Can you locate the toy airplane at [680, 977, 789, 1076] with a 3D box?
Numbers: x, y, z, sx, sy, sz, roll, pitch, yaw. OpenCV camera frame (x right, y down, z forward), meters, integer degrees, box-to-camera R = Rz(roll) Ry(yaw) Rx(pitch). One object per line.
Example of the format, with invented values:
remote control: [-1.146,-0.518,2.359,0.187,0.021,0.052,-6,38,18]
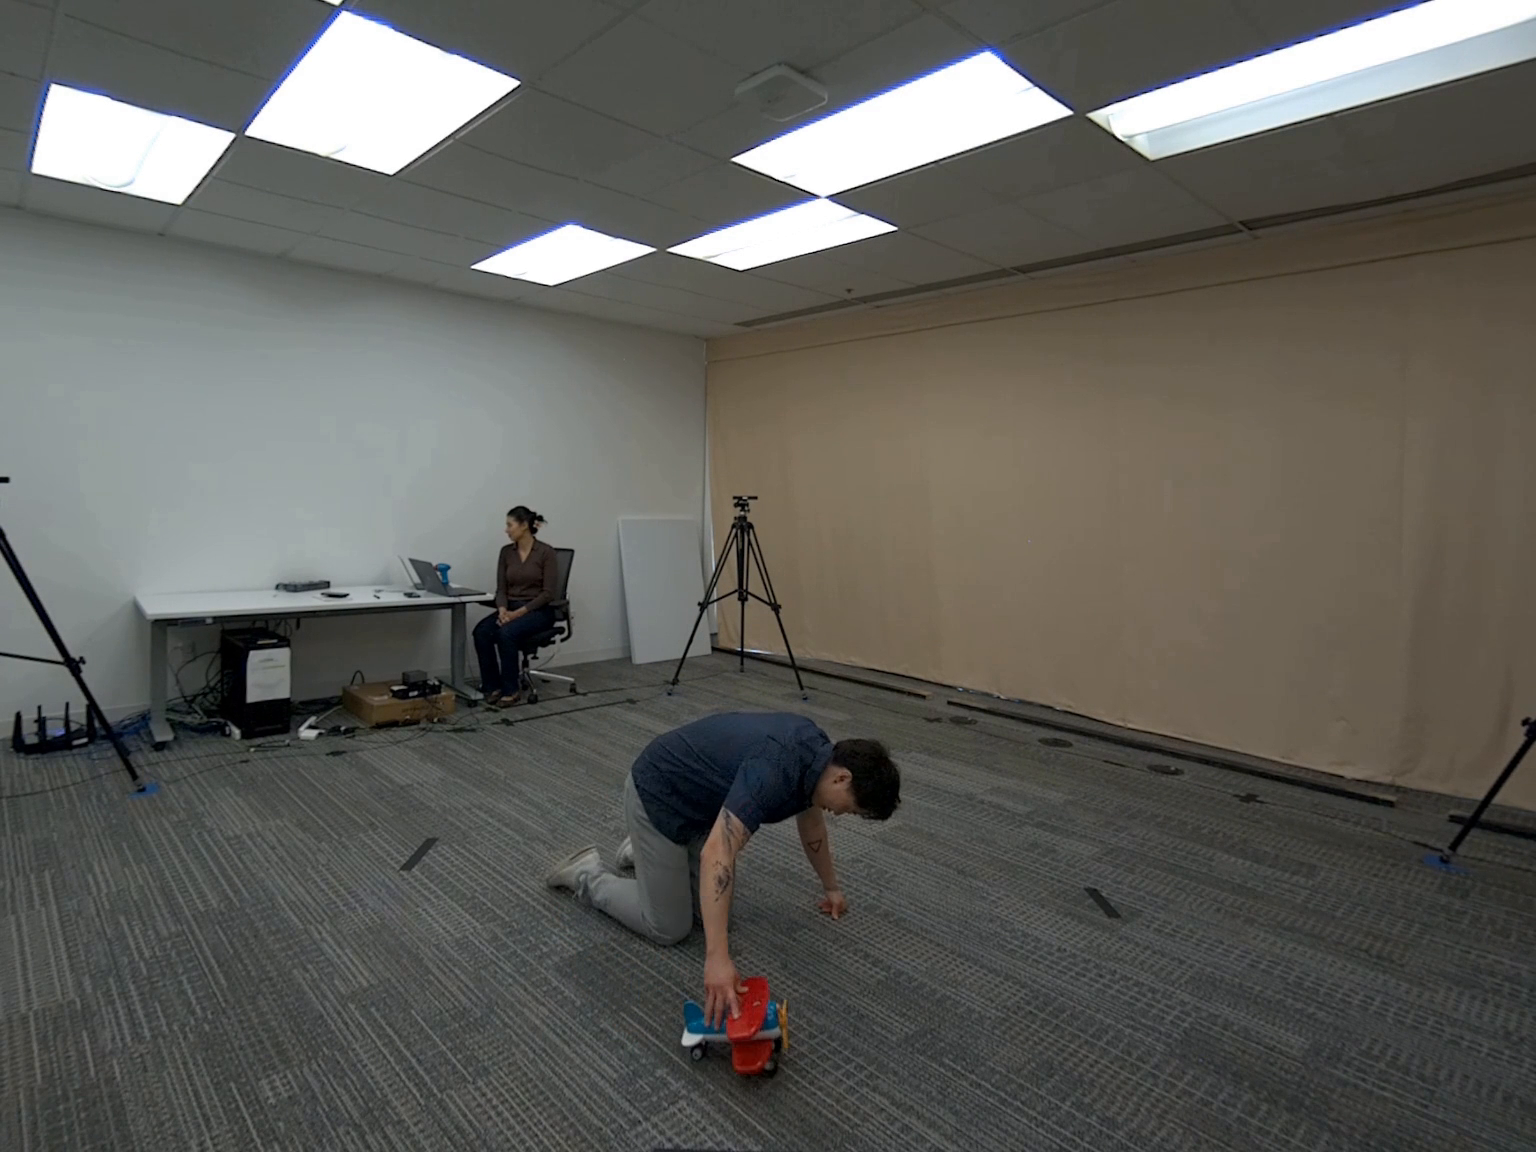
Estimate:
toy airplane: [-0.082,1.129,2.067,0.255,0.156,0.255,1,5,-20]
